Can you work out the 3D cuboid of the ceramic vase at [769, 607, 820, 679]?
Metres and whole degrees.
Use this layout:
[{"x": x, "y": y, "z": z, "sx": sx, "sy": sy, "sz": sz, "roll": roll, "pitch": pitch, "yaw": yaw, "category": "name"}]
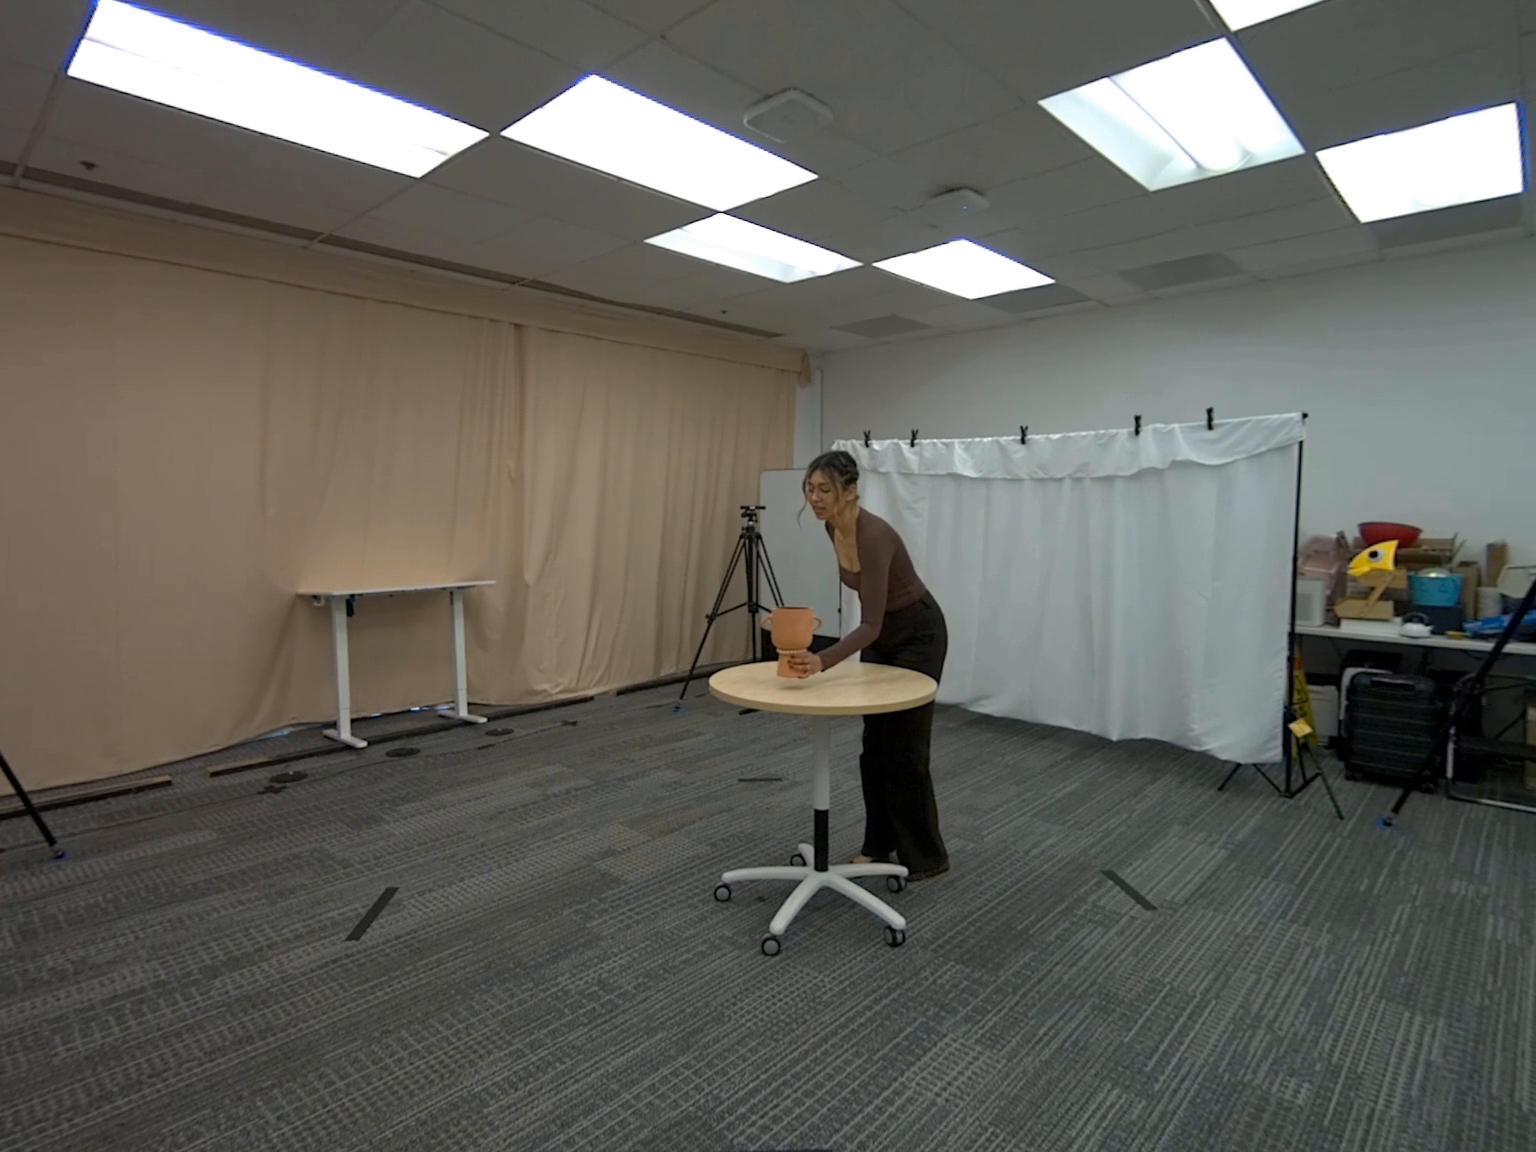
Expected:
[{"x": 0.083, "y": 0.214, "z": 2.722, "sx": 0.164, "sy": 0.219, "sz": 0.130, "roll": 1, "pitch": 1, "yaw": 36, "category": "ceramic vase"}]
